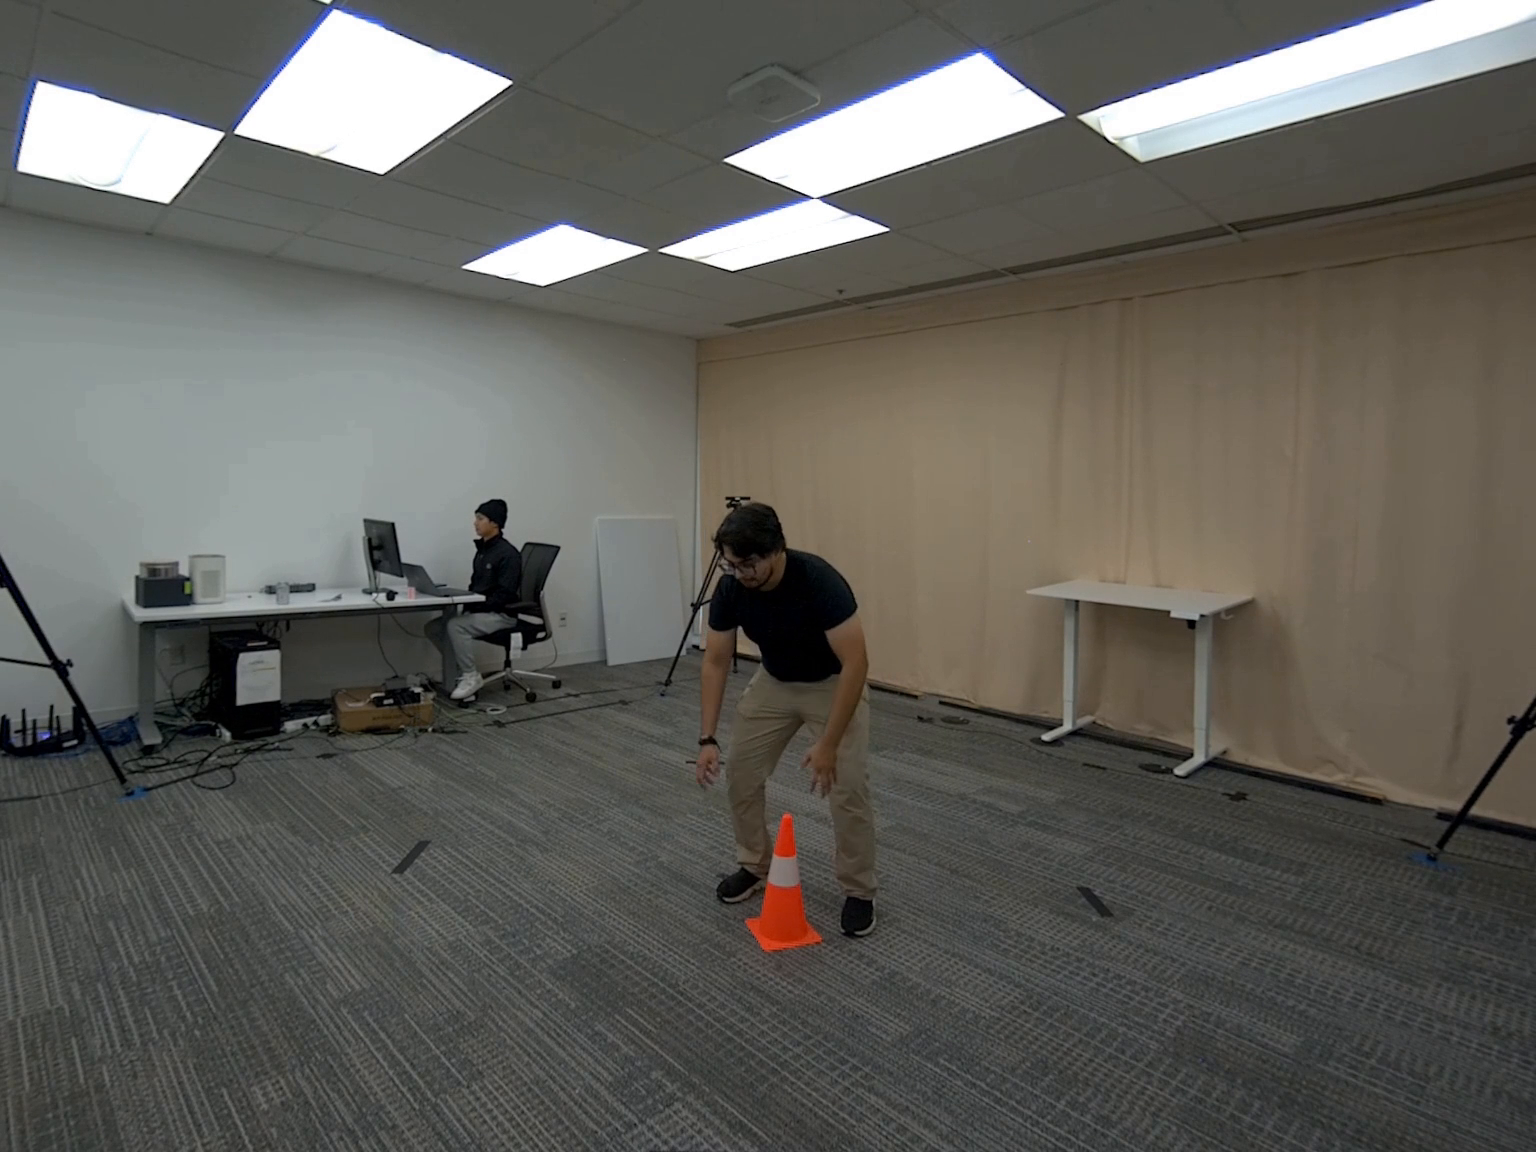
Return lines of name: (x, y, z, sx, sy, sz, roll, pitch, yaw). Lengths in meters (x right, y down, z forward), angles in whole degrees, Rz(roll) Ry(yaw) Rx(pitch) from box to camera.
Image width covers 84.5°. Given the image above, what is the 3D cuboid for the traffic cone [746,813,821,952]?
traffic cone: (0.053, 0.960, 2.708, 0.201, 0.383, 0.208, 2, 4, -26)
